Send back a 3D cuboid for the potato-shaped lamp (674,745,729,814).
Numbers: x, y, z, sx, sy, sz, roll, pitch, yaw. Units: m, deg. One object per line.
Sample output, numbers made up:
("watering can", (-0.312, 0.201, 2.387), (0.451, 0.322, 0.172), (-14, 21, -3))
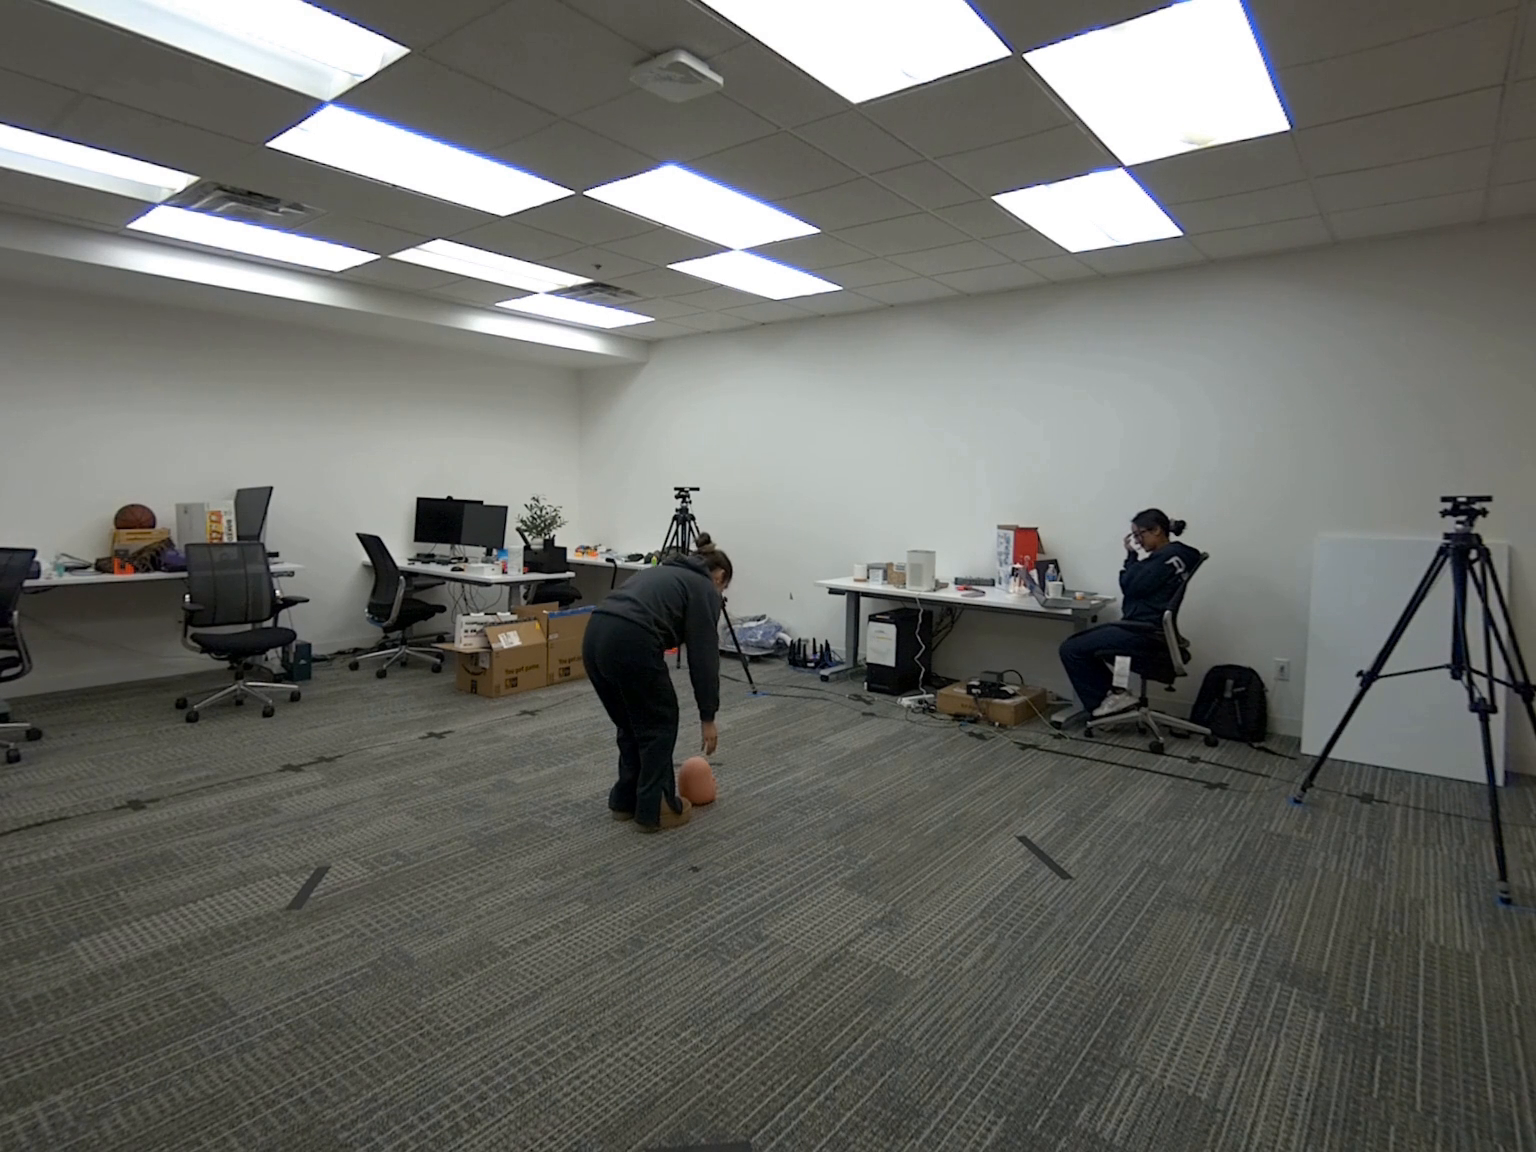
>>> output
("potato-shaped lamp", (-0.312, 0.911, 3.778), (0.177, 0.191, 0.165), (12, 43, 29))
